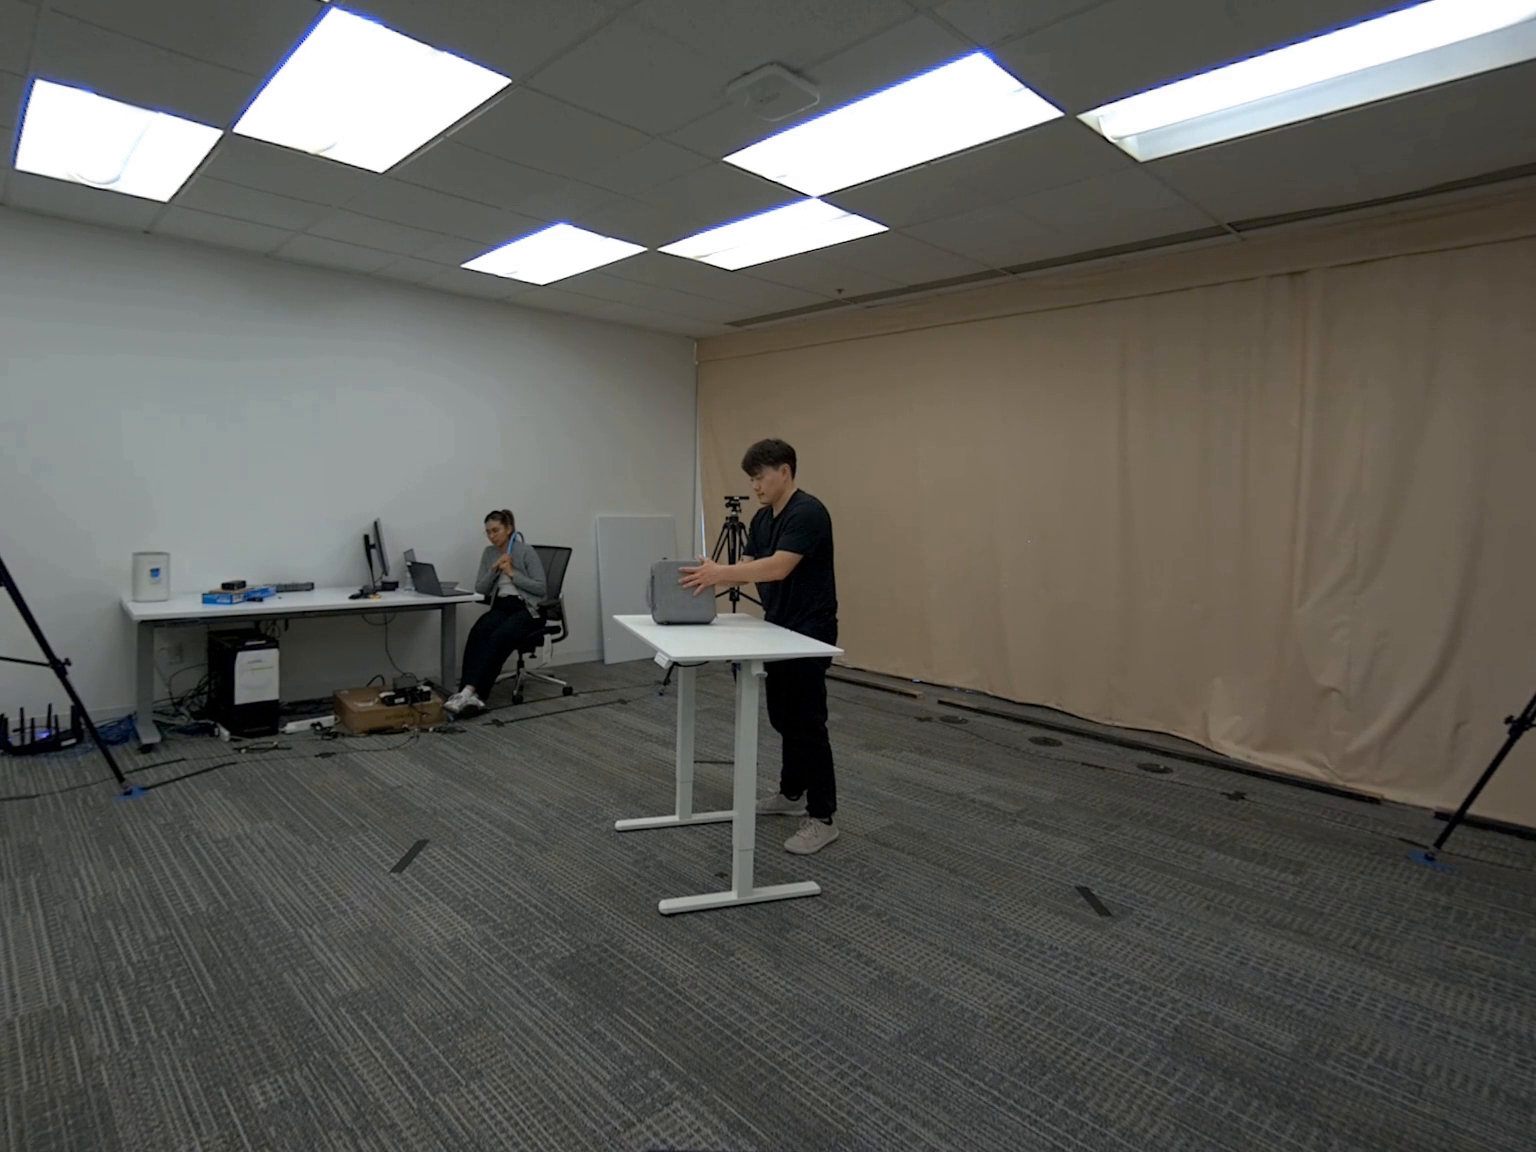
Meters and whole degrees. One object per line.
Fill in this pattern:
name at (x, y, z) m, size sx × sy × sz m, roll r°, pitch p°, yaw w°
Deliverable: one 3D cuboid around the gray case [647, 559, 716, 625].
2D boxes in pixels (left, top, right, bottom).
gray case at (-0.349, 0.061, 3.387) m, size 0.257 × 0.259 × 0.105 m, roll 0°, pitch -10°, yaw -18°
